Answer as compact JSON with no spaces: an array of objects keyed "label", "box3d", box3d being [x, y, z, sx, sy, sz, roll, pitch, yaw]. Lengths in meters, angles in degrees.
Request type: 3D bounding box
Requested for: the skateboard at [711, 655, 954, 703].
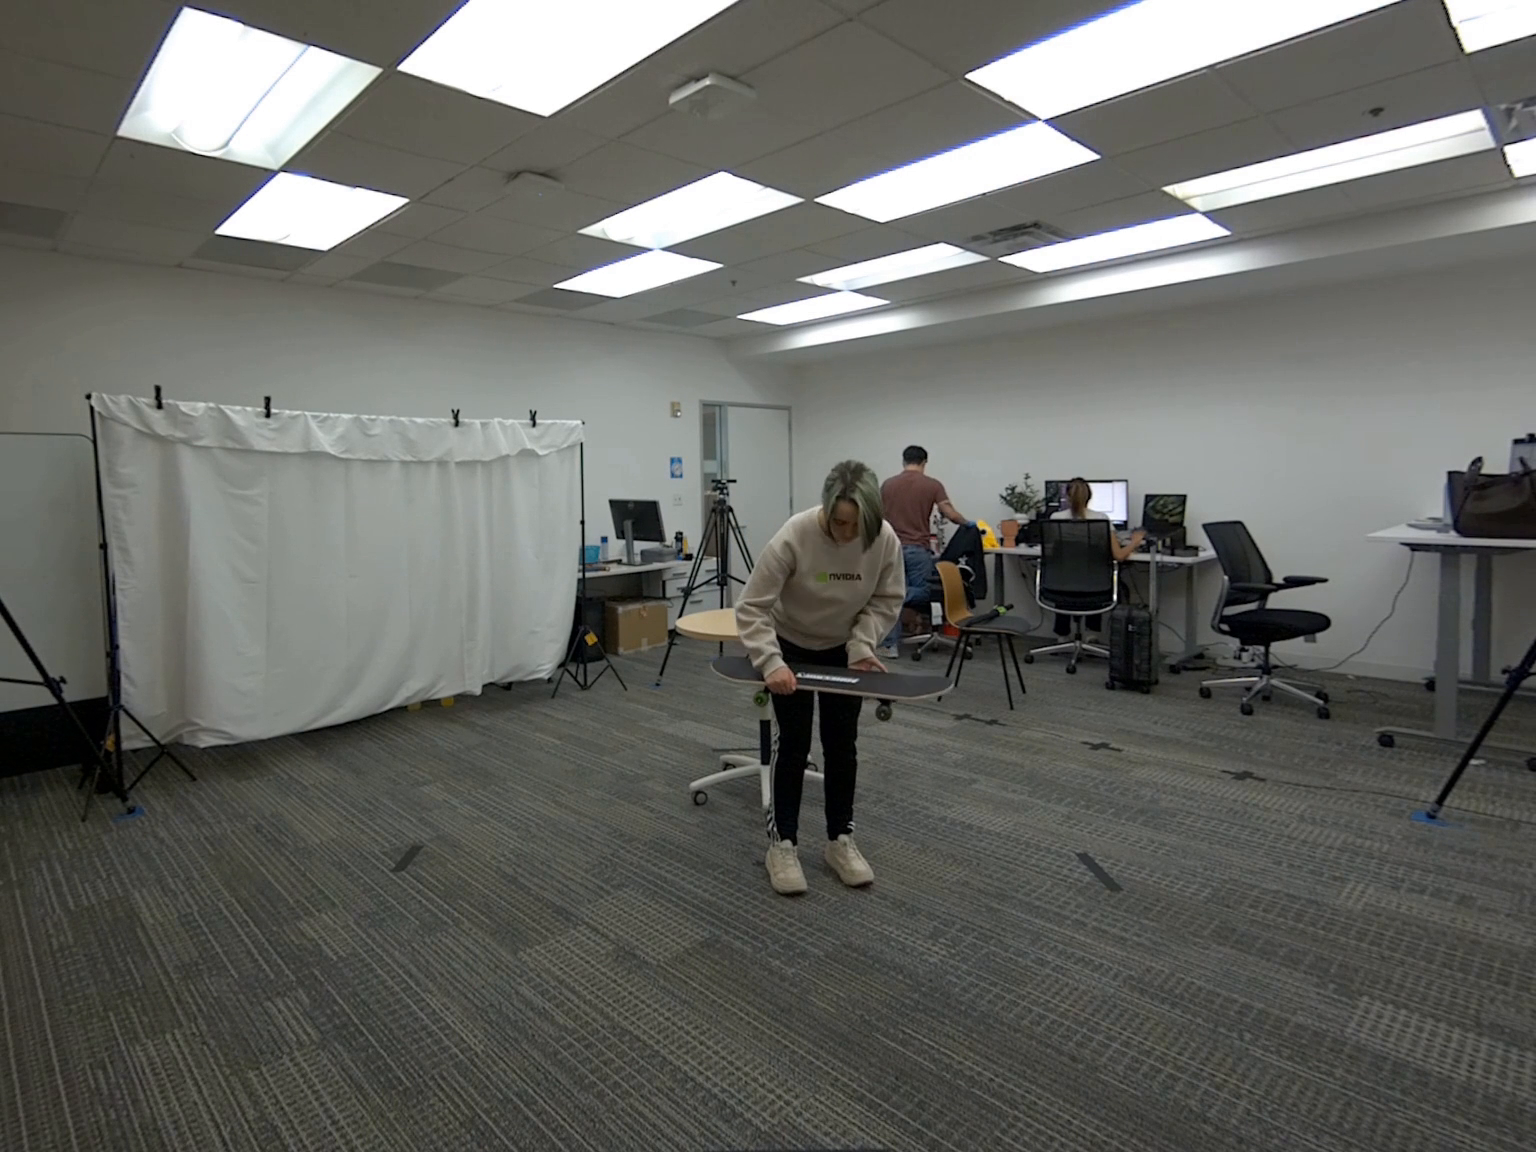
[{"label":"skateboard","box3d":[0.192,0.363,2.738,0.802,0.109,0.192,3,15,21]}]
